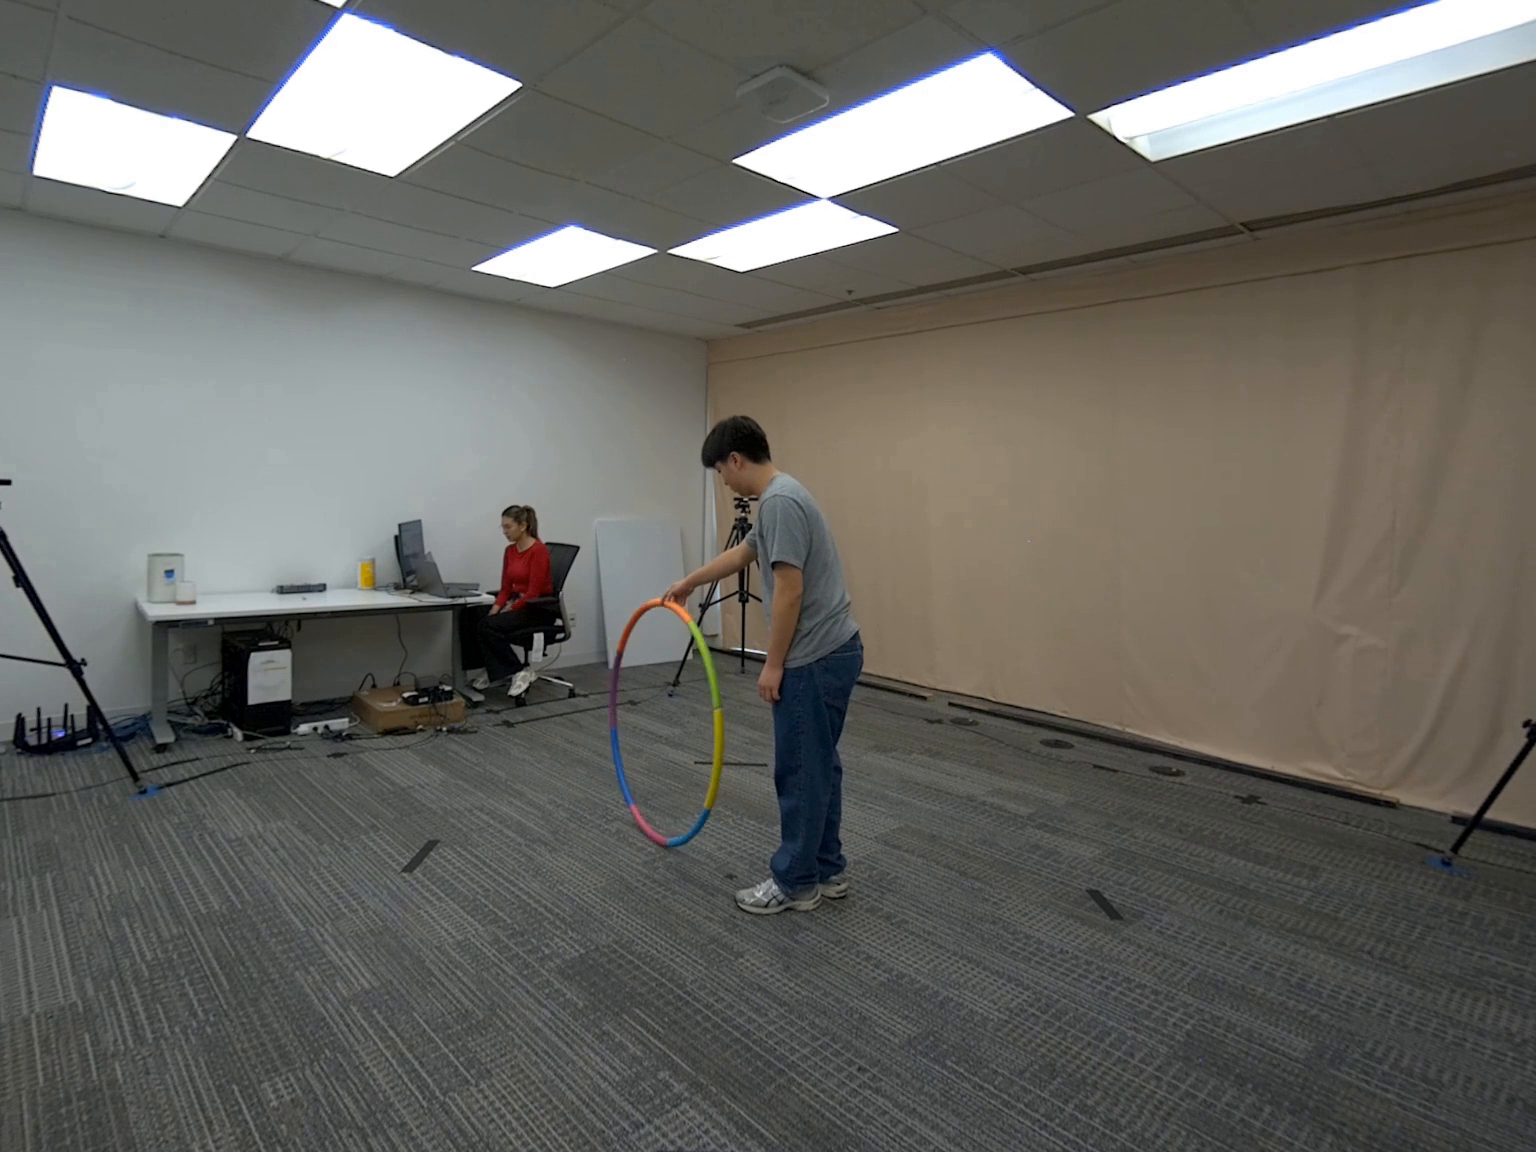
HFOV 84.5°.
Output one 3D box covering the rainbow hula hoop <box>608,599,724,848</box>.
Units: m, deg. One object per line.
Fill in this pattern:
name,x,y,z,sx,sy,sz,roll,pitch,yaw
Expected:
rainbow hula hoop,-0.459,0.581,3.421,0.035,0.977,1.002,2,3,-32
